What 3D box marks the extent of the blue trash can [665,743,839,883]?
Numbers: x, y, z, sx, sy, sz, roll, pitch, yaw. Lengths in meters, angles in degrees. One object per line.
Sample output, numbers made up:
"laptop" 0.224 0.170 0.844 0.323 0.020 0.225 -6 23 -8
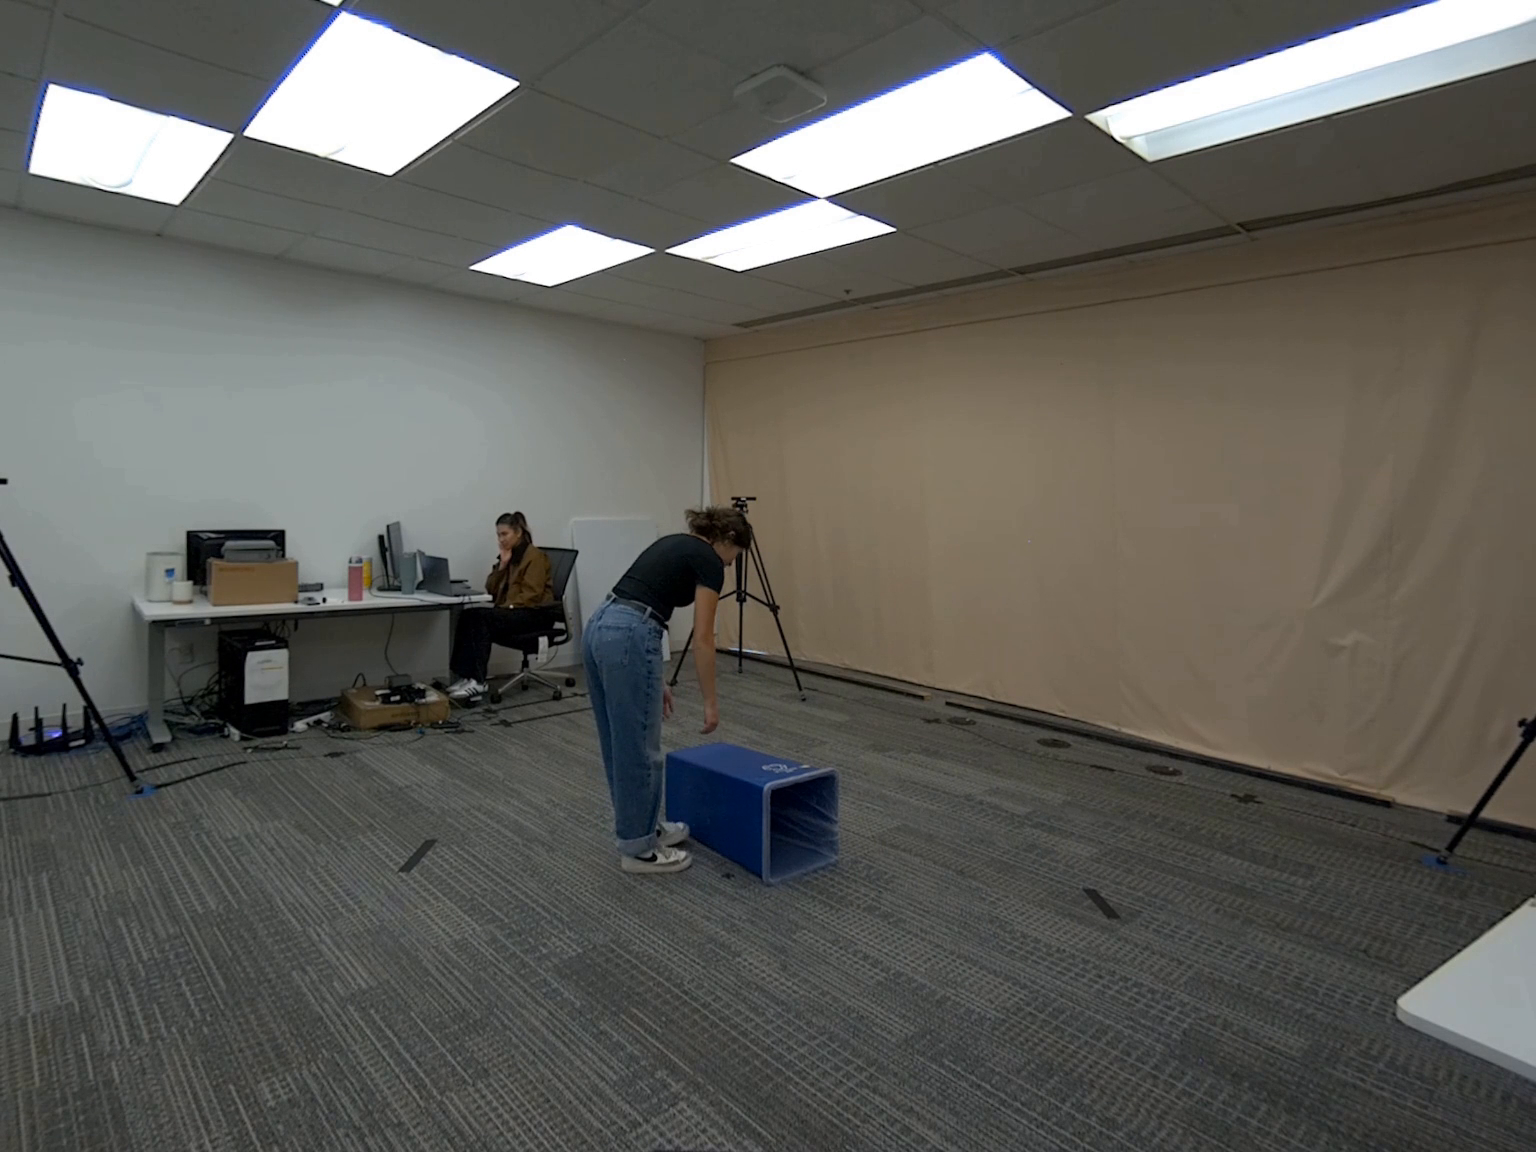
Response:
"blue trash can" -0.107 0.915 3.395 0.366 0.377 0.730 -2 3 -40
